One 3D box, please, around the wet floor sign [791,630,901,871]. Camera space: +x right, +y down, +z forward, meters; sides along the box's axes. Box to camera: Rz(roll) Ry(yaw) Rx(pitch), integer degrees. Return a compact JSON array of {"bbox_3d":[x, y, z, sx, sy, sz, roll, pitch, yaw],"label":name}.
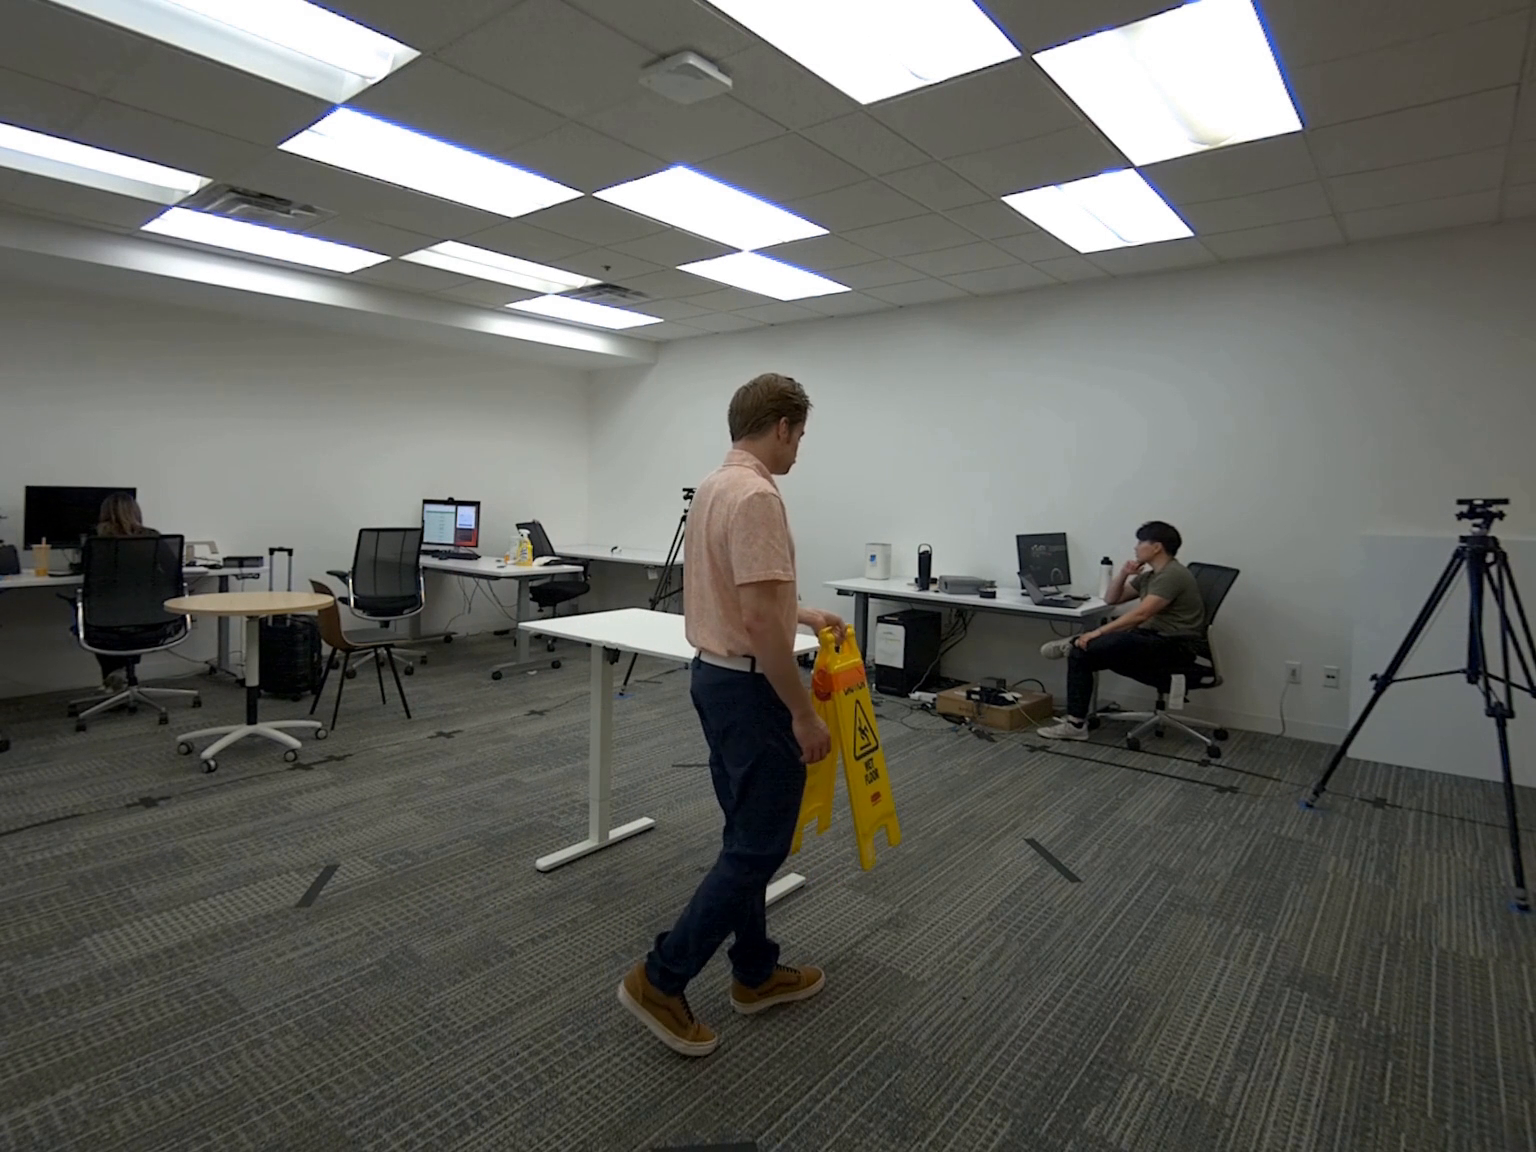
[{"bbox_3d":[0.210,0.470,2.488,0.298,0.645,0.275,-1,1,31],"label":"wet floor sign"}]
